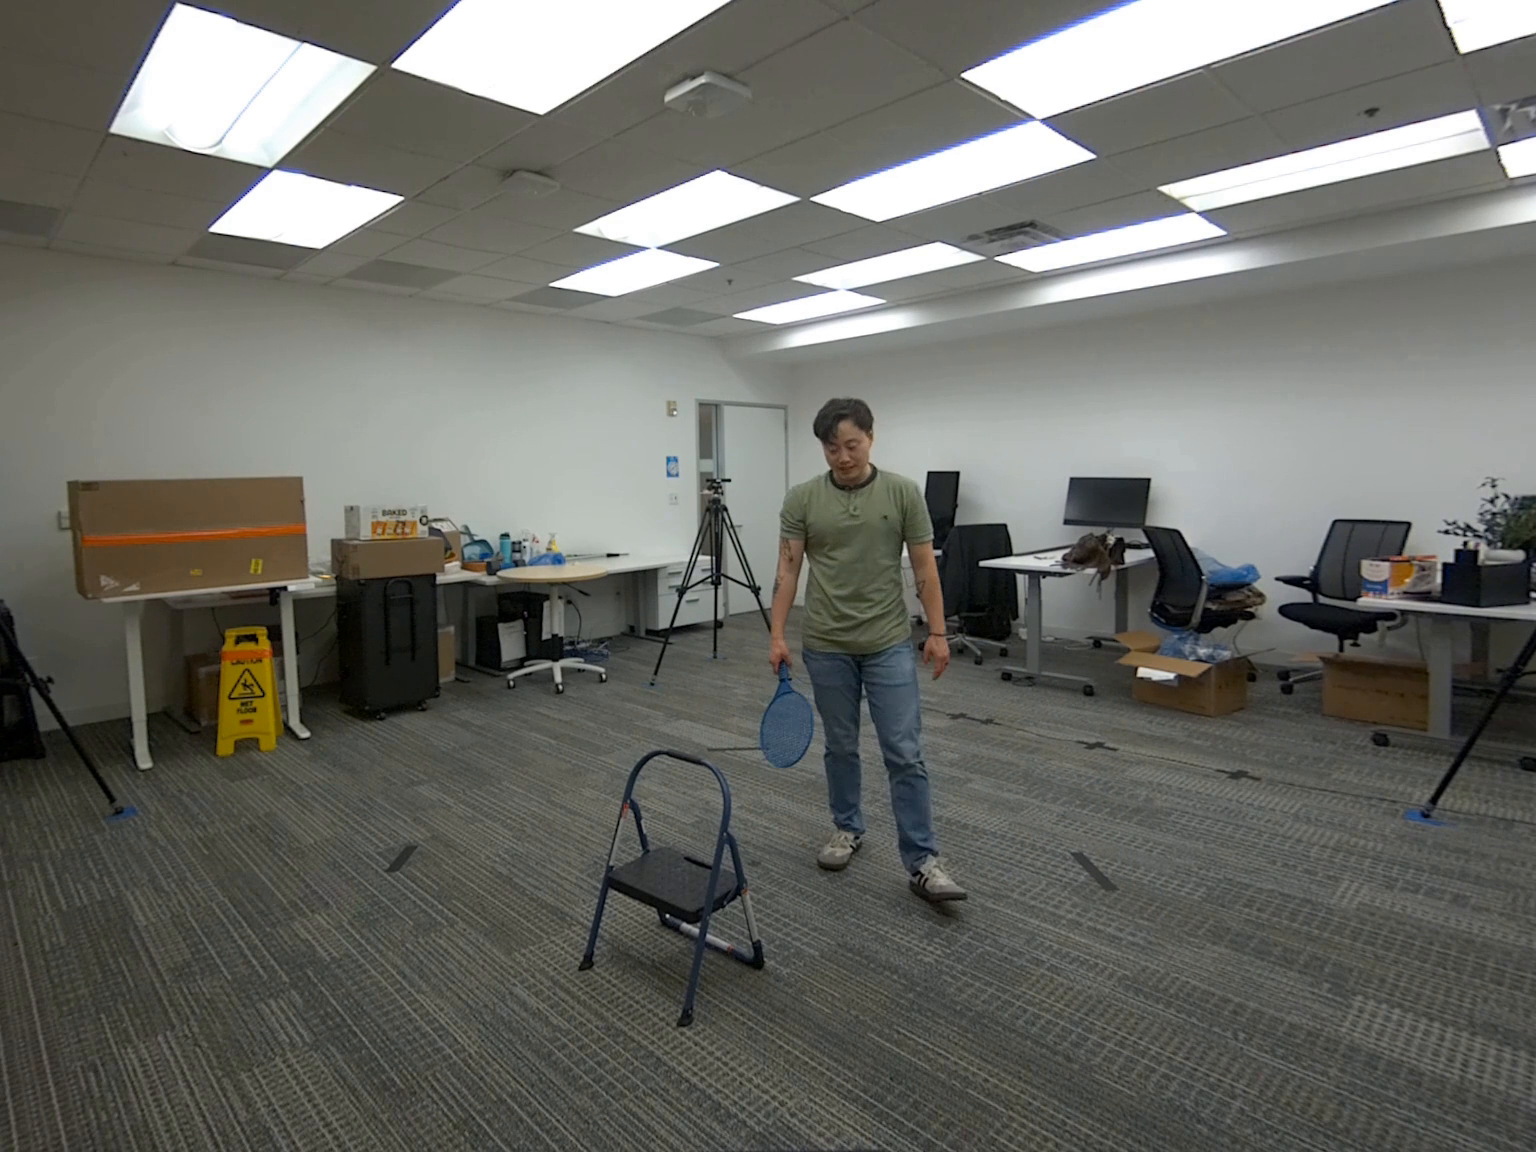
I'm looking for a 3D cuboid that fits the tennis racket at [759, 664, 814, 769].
[{"bbox_3d":[0.062,0.434,2.876,0.216,0.444,0.030,-26,-45,29],"label":"tennis racket"}]
